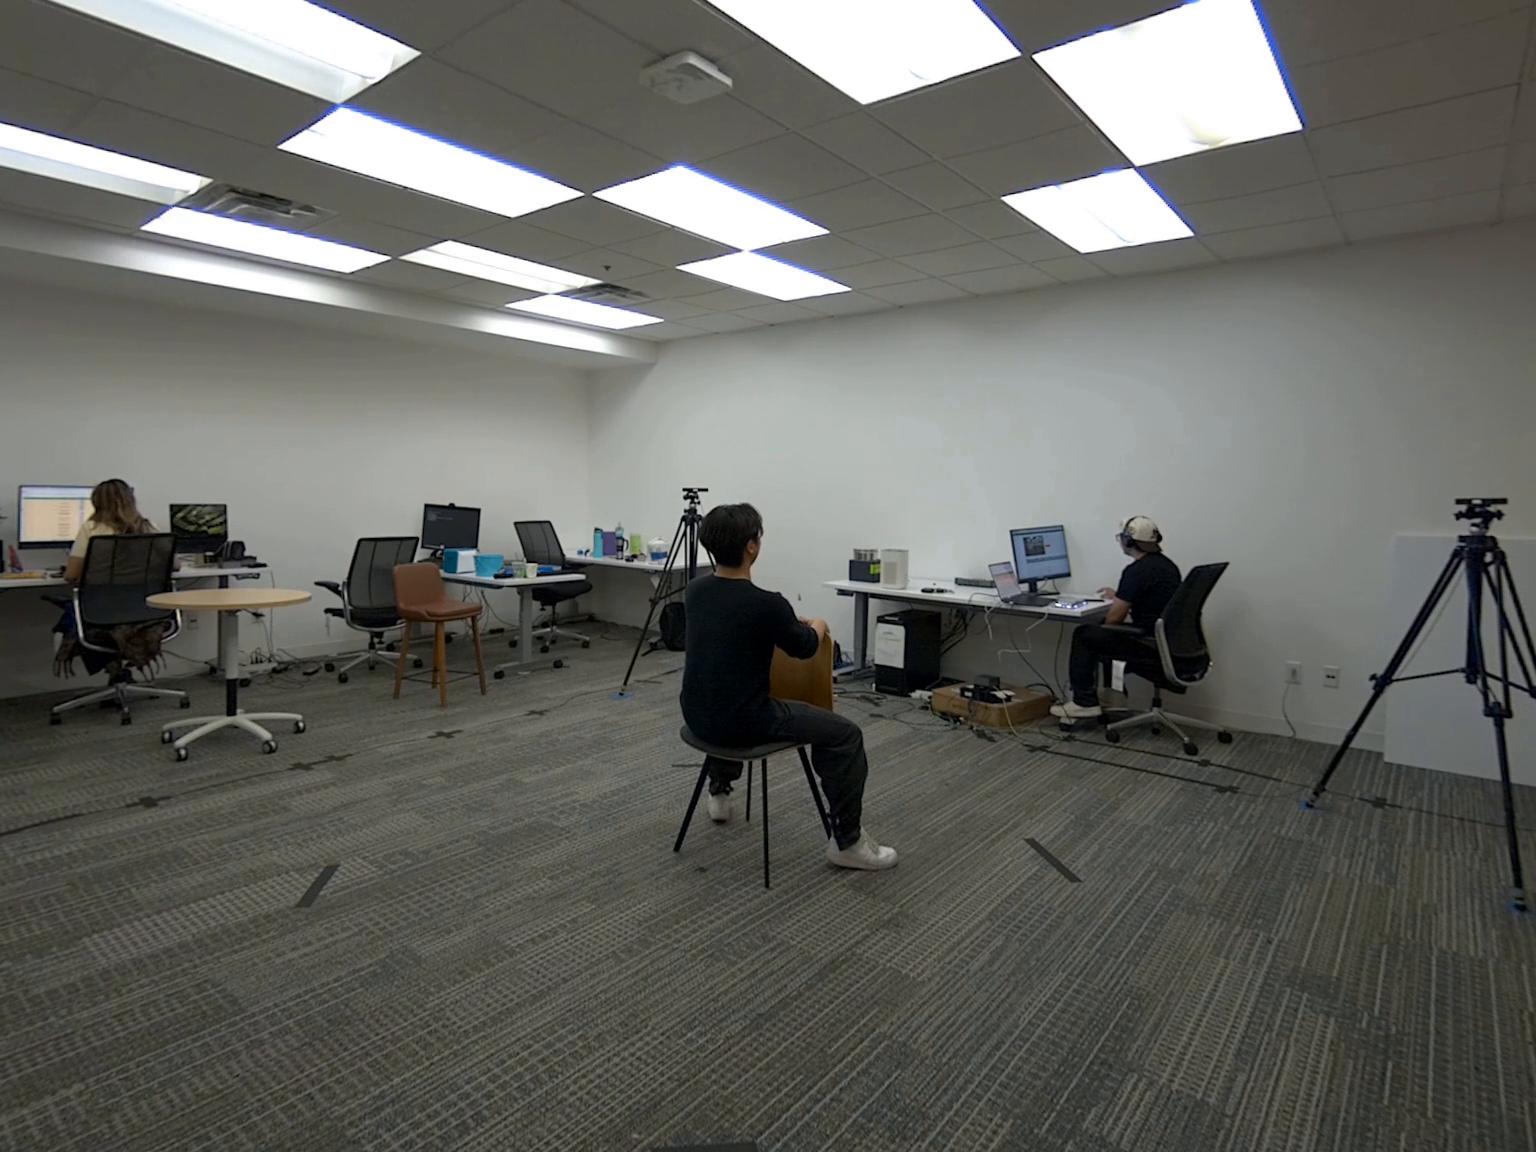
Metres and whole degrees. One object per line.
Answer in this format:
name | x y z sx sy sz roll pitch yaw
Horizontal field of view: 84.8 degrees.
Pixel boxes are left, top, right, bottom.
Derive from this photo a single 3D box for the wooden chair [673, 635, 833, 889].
wooden chair | -0.051 0.629 3.240 0.494 0.877 0.506 5 1 39
